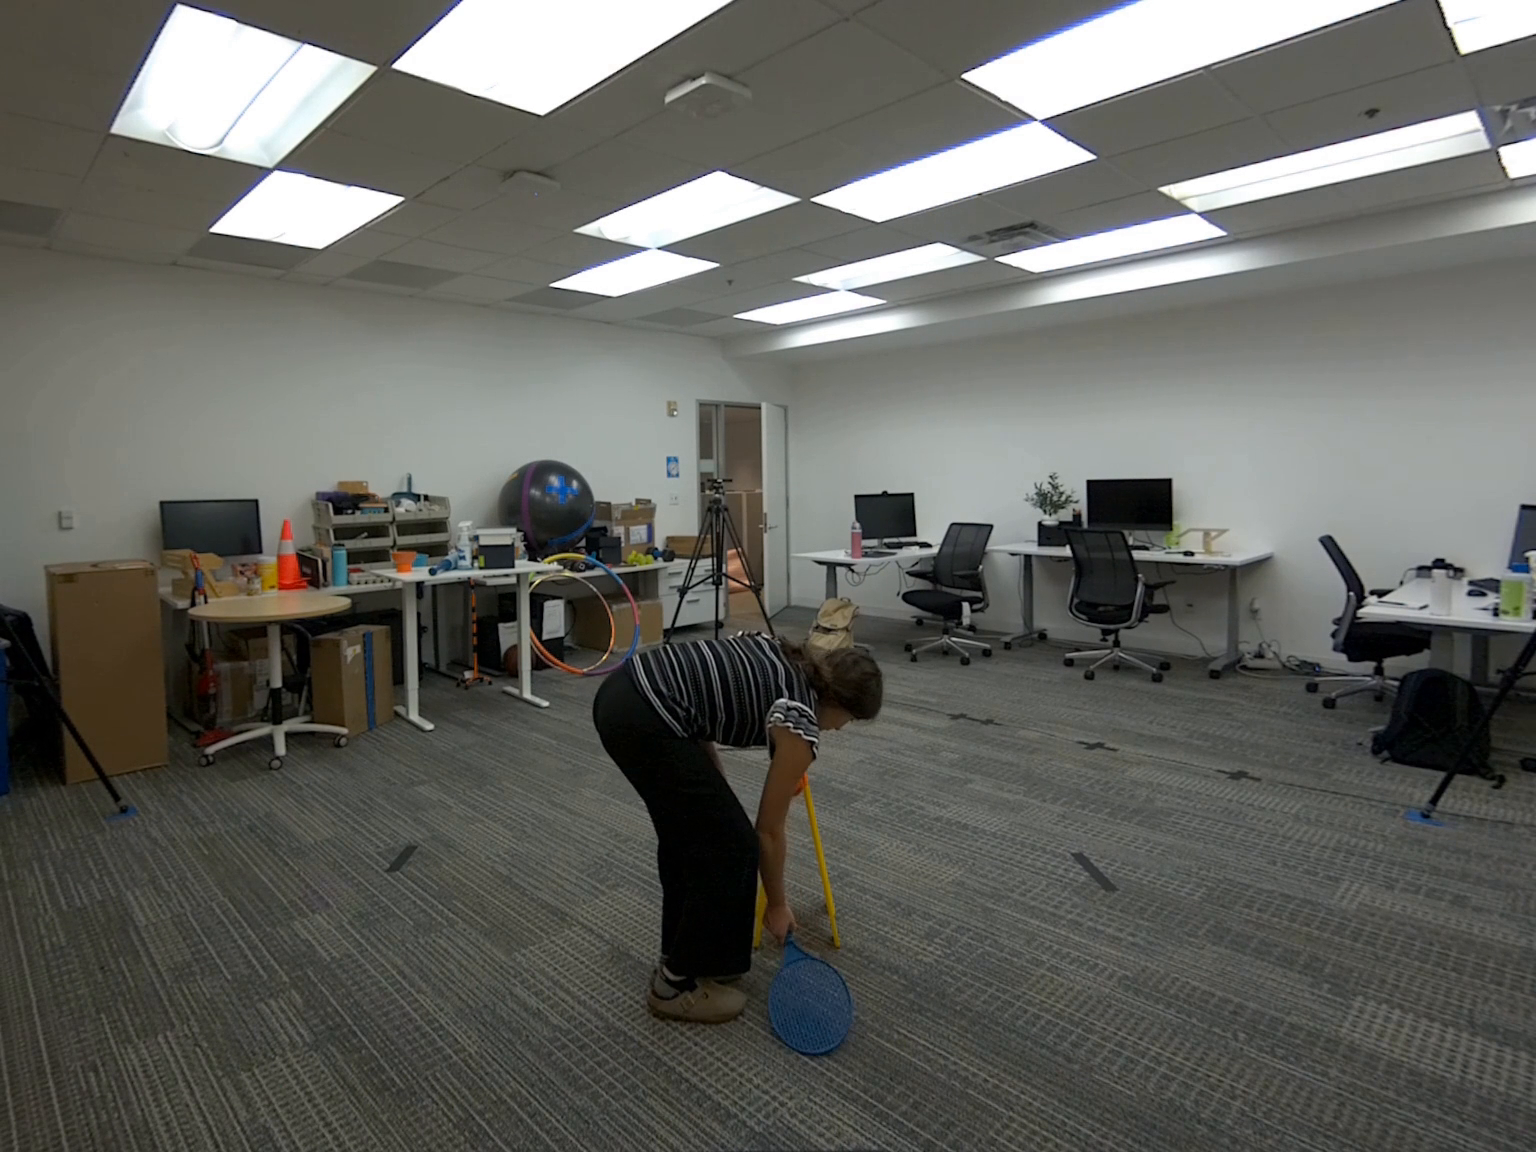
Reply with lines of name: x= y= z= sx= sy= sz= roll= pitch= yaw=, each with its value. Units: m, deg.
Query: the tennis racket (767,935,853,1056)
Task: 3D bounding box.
tennis racket: x=0.091 y=1.067 z=2.242 sx=0.212 sy=0.031 sz=0.447 roll=-19 pitch=27 yaw=-10
